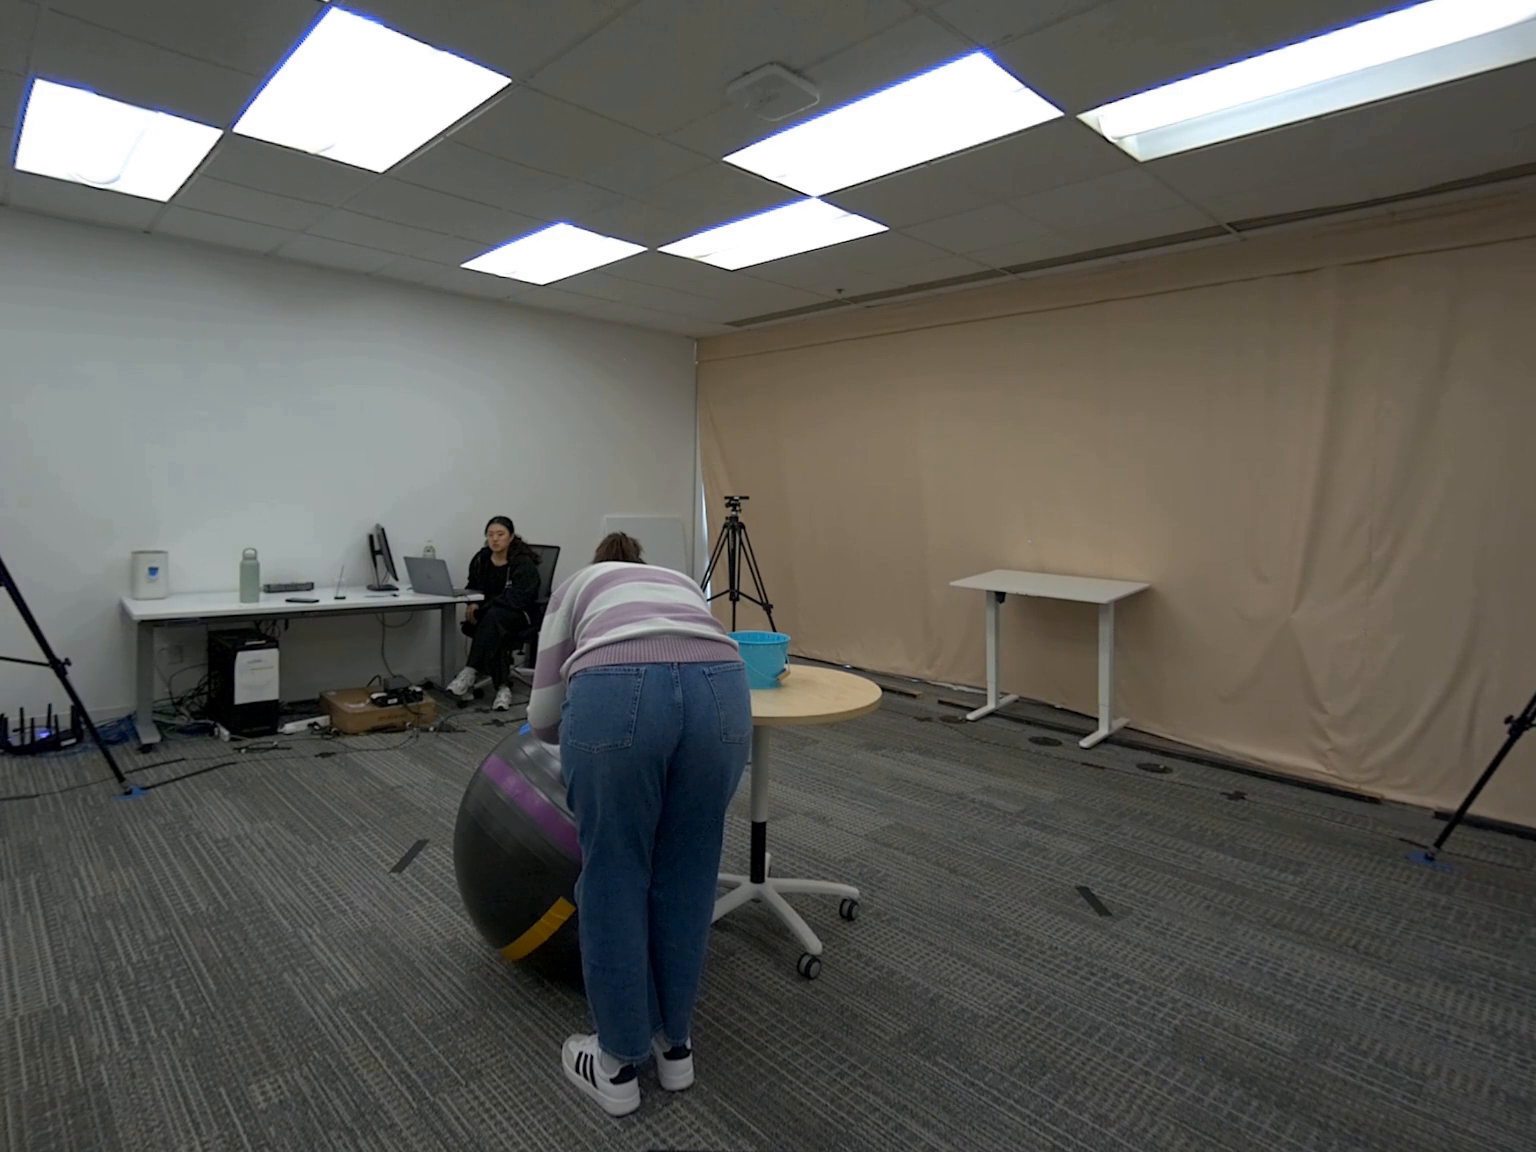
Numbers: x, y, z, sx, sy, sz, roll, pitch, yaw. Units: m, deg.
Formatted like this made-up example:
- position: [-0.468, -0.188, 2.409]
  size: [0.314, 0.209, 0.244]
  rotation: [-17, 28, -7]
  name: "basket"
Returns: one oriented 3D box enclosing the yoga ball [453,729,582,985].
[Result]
- position: [-0.568, 0.785, 2.518]
  size: [0.757, 0.756, 0.761]
  rotation: [1, 4, -1]
  name: "yoga ball"
